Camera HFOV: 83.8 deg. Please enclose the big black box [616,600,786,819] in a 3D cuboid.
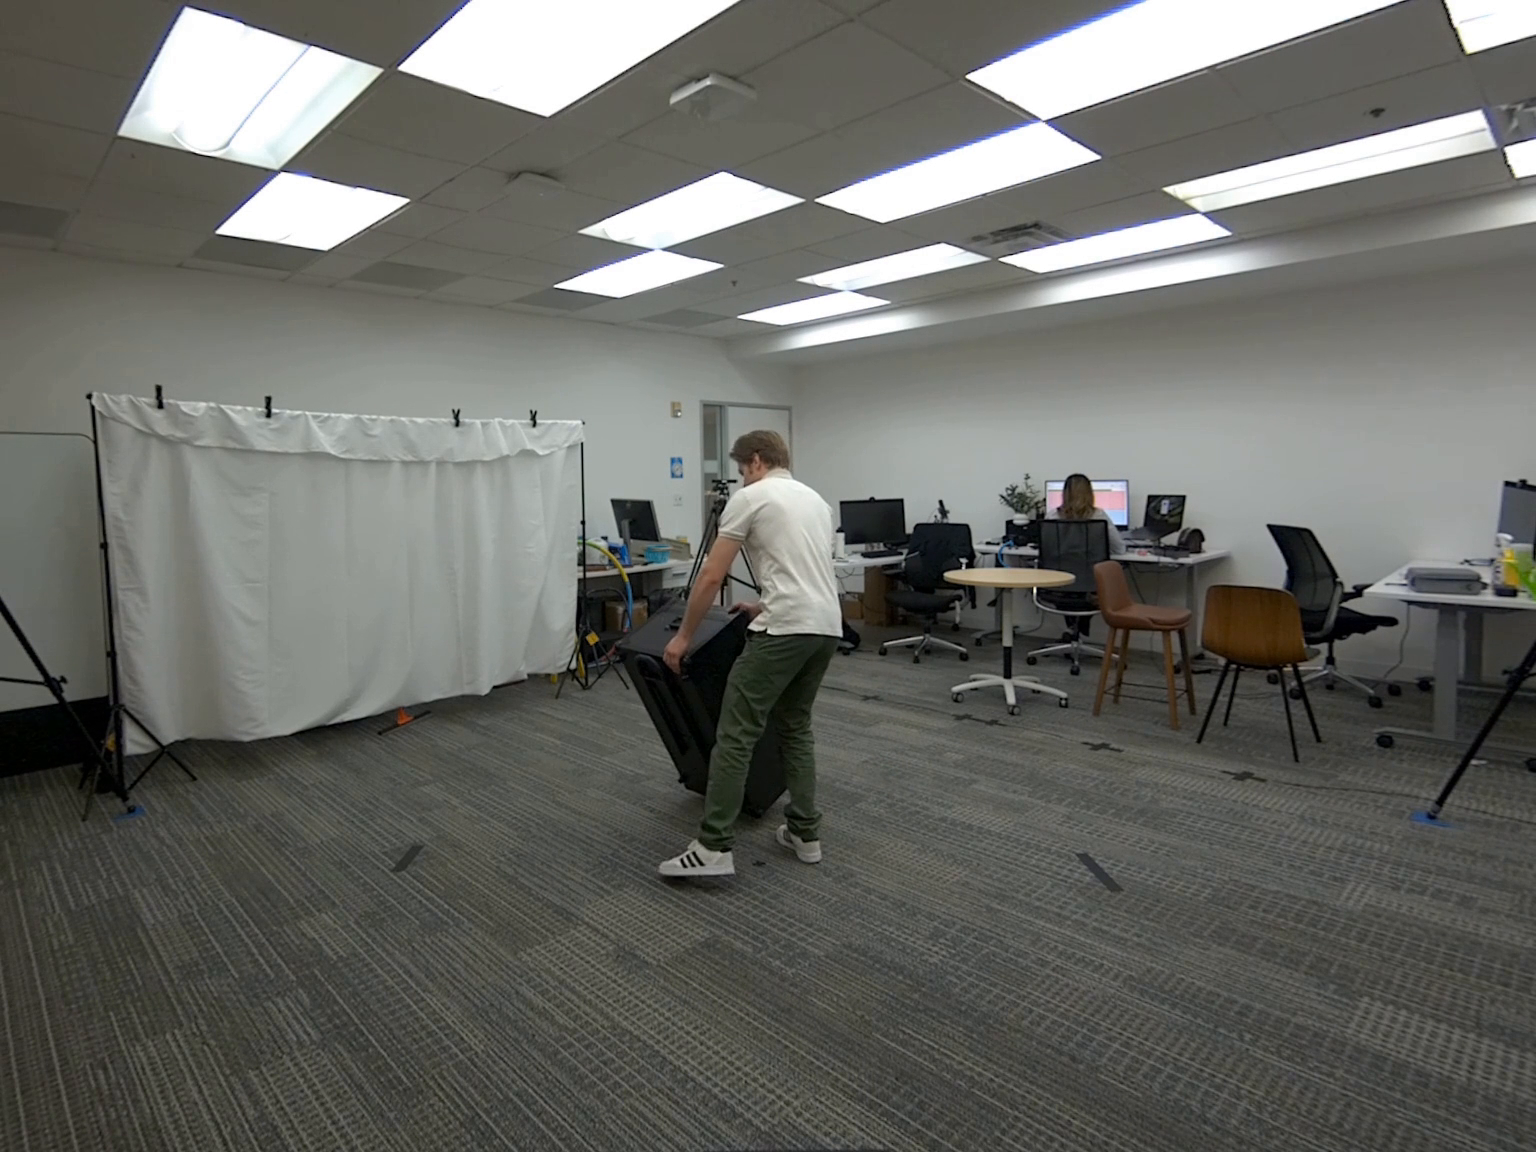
[{"bbox_3d":[-0.227,0.569,3.573,0.394,0.841,0.537,-37,25,-33],"label":"big black box"}]
